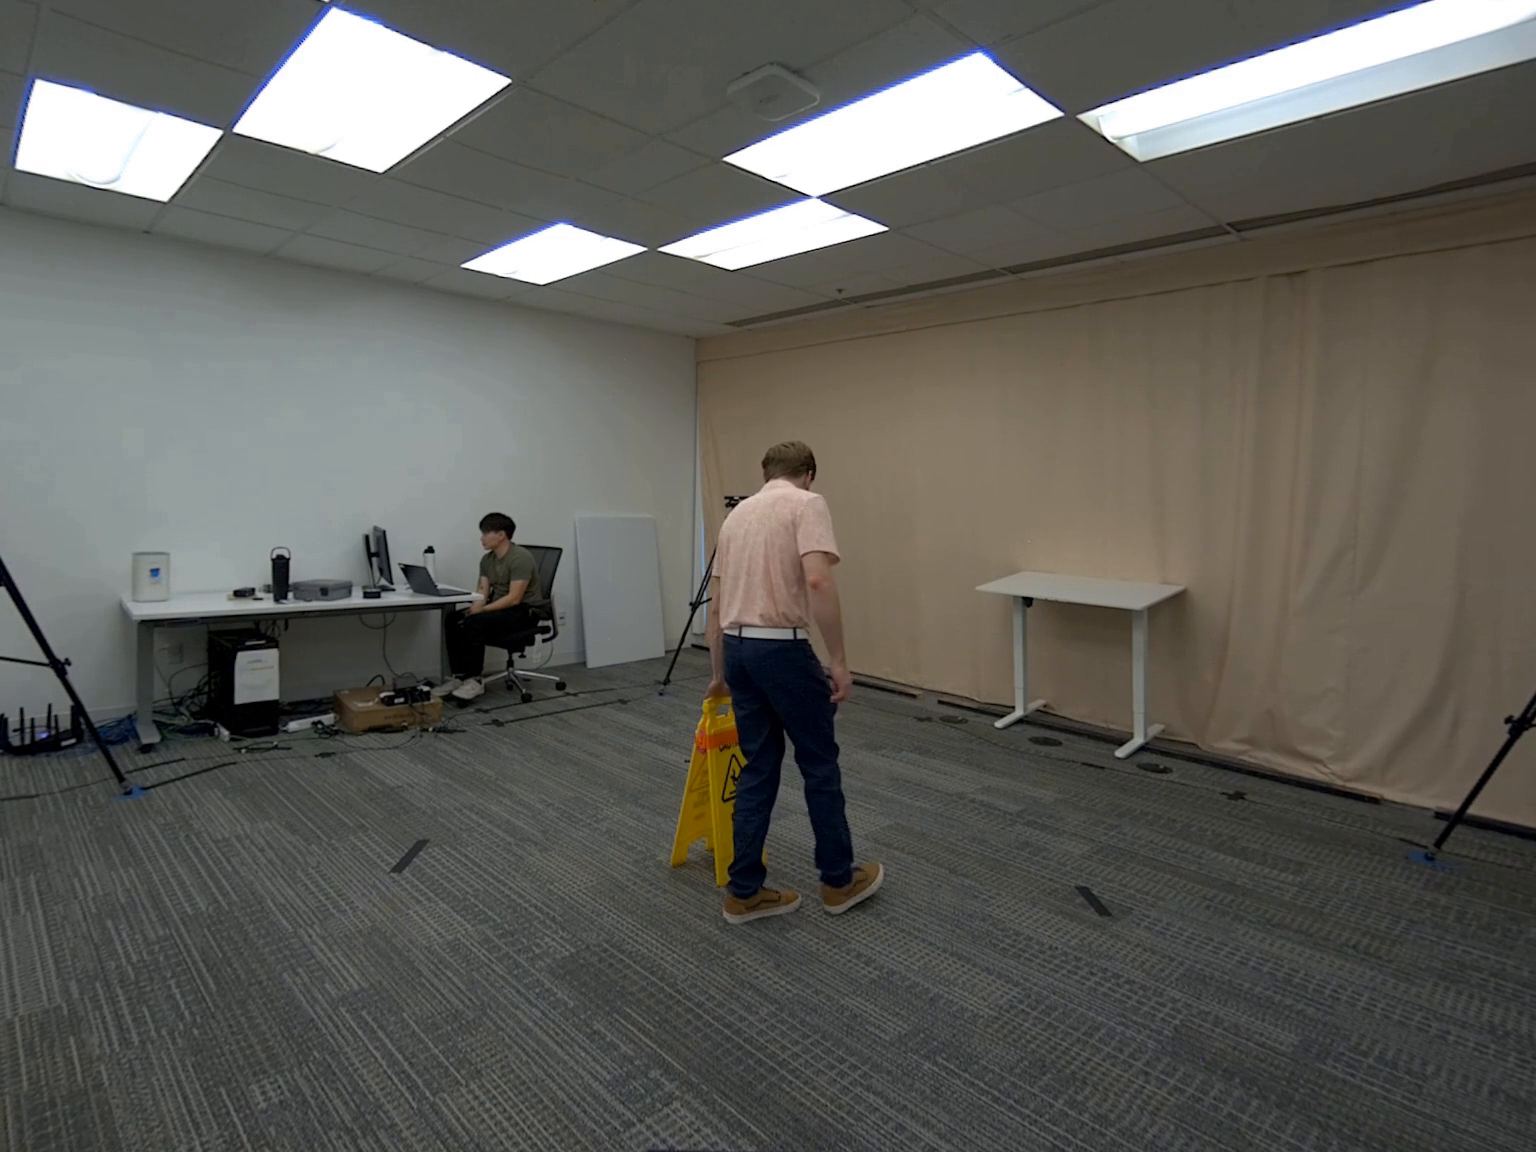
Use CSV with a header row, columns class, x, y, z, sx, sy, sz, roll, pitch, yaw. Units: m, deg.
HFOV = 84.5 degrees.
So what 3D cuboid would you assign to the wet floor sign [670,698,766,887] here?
class,x,y,z,sx,sy,sz,roll,pitch,yaw
wet floor sign,-0.180,0.773,3.162,0.297,0.644,0.276,4,4,39
